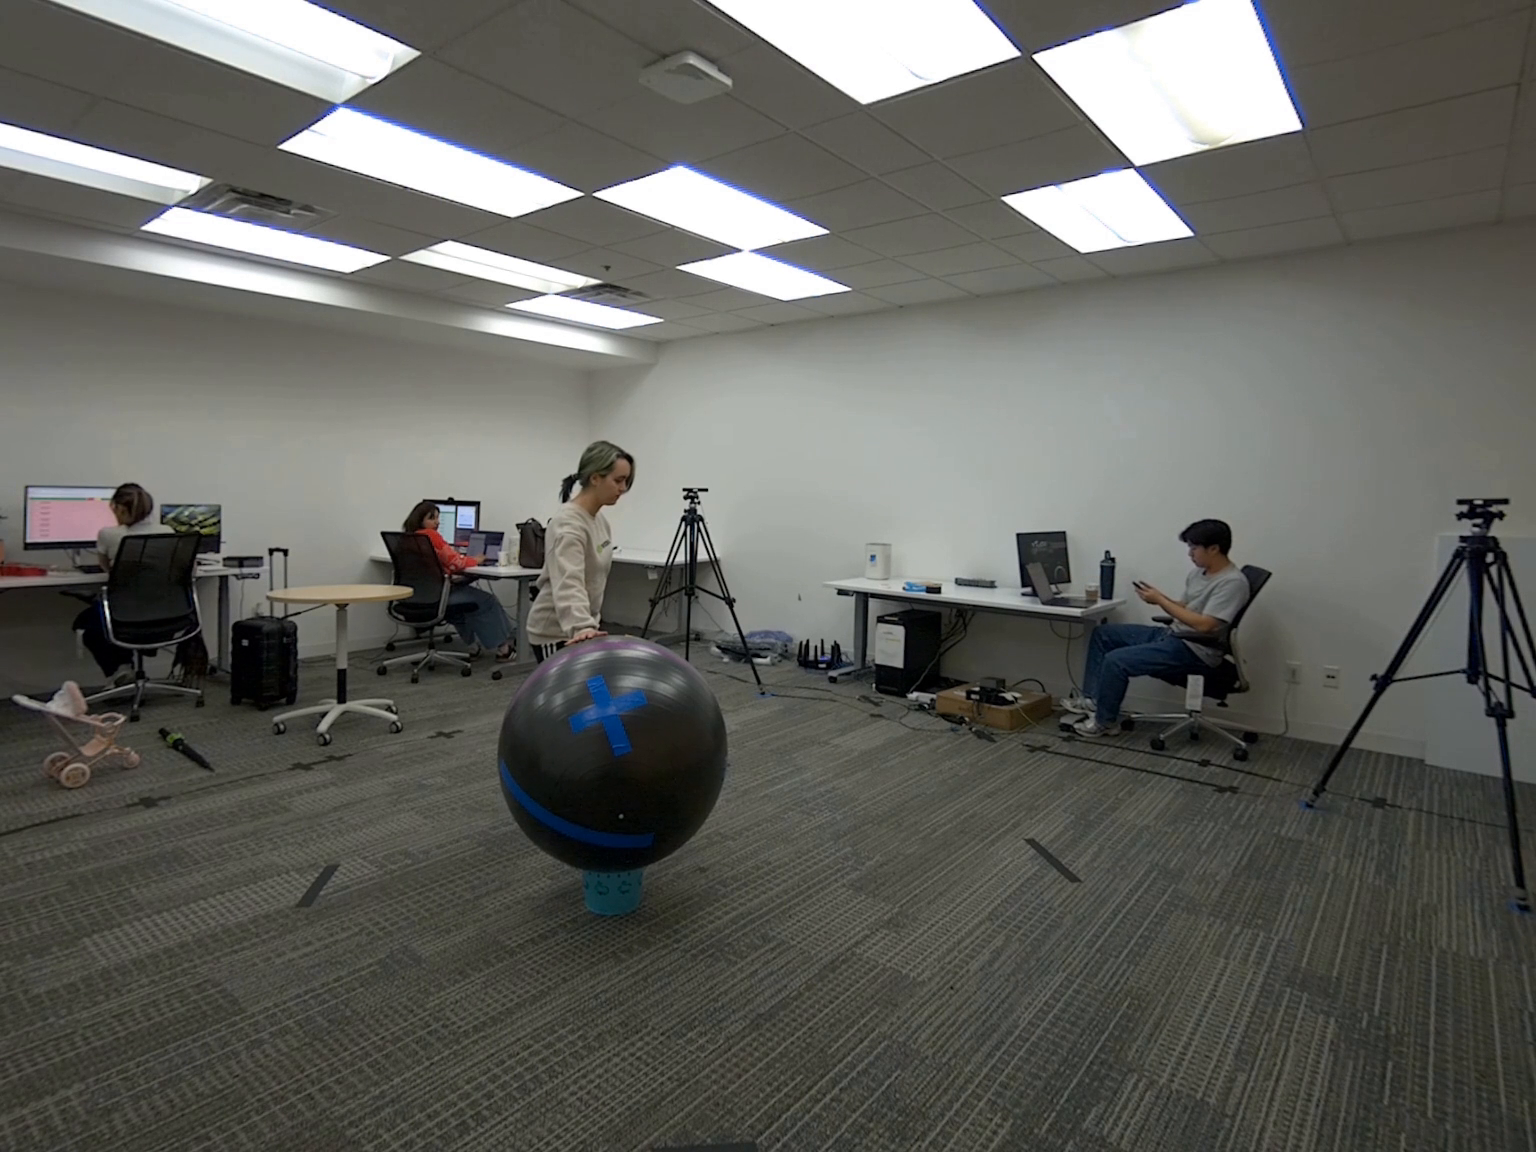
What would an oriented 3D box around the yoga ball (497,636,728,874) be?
[{"bbox_3d":[-0.519,0.581,2.832,0.757,0.755,0.762,1,4,-2],"label":"yoga ball"}]
